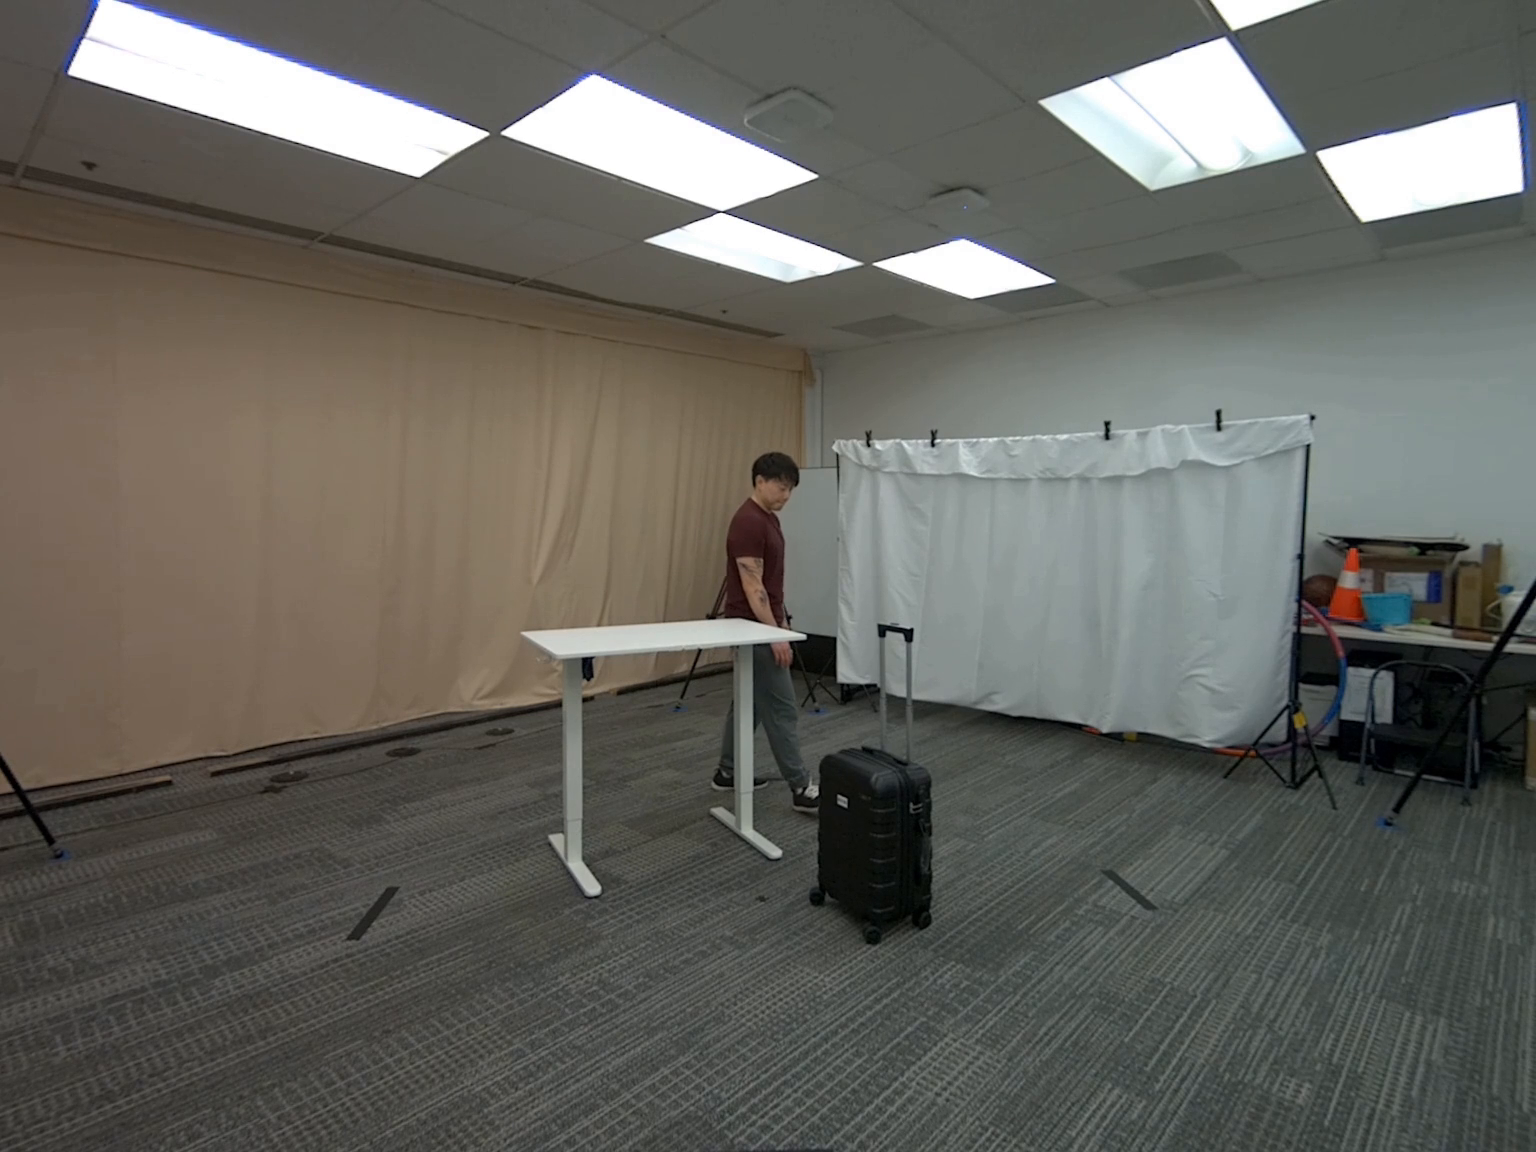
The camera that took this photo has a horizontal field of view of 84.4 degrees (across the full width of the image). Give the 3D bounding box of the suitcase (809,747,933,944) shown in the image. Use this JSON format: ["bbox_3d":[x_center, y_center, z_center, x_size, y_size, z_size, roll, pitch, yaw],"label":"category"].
[{"bbox_3d":[0.363,0.674,2.841,0.250,0.976,0.395,-3,4,-28],"label":"suitcase"}]
